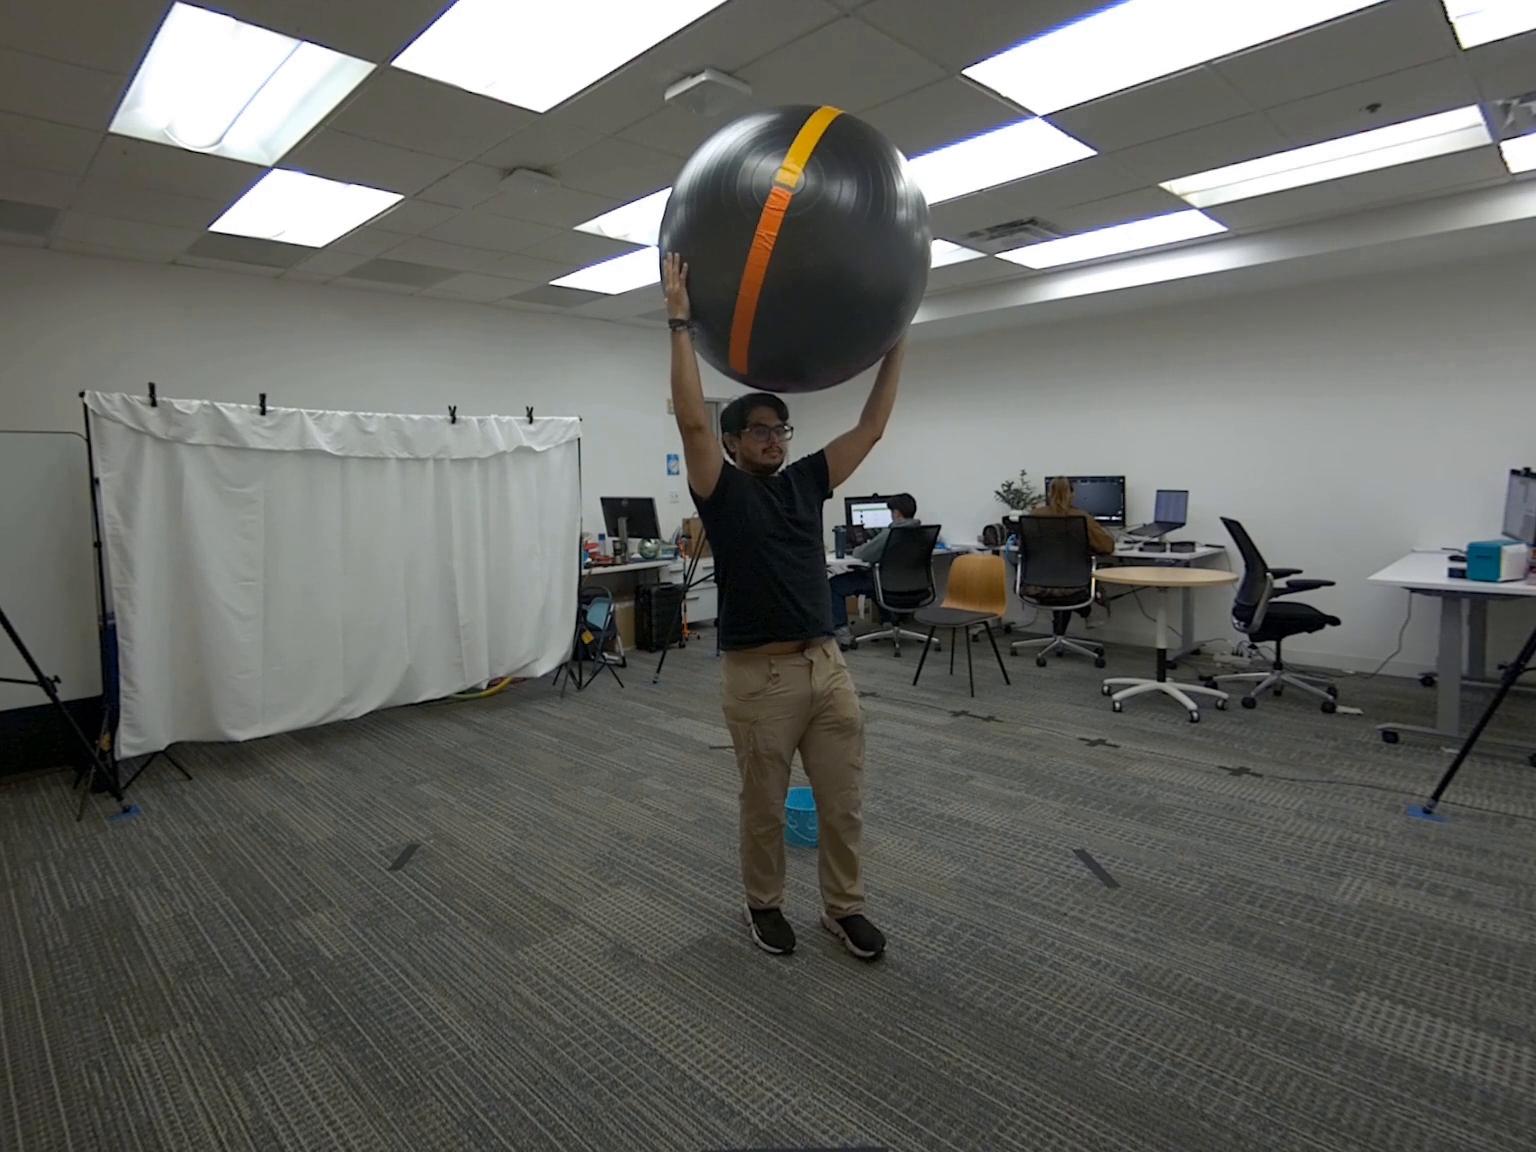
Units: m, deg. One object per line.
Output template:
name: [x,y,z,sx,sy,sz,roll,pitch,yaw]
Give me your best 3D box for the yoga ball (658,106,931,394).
yoga ball: [0.075,-0.888,2.376,0.757,0.755,0.762,-1,5,-2]
